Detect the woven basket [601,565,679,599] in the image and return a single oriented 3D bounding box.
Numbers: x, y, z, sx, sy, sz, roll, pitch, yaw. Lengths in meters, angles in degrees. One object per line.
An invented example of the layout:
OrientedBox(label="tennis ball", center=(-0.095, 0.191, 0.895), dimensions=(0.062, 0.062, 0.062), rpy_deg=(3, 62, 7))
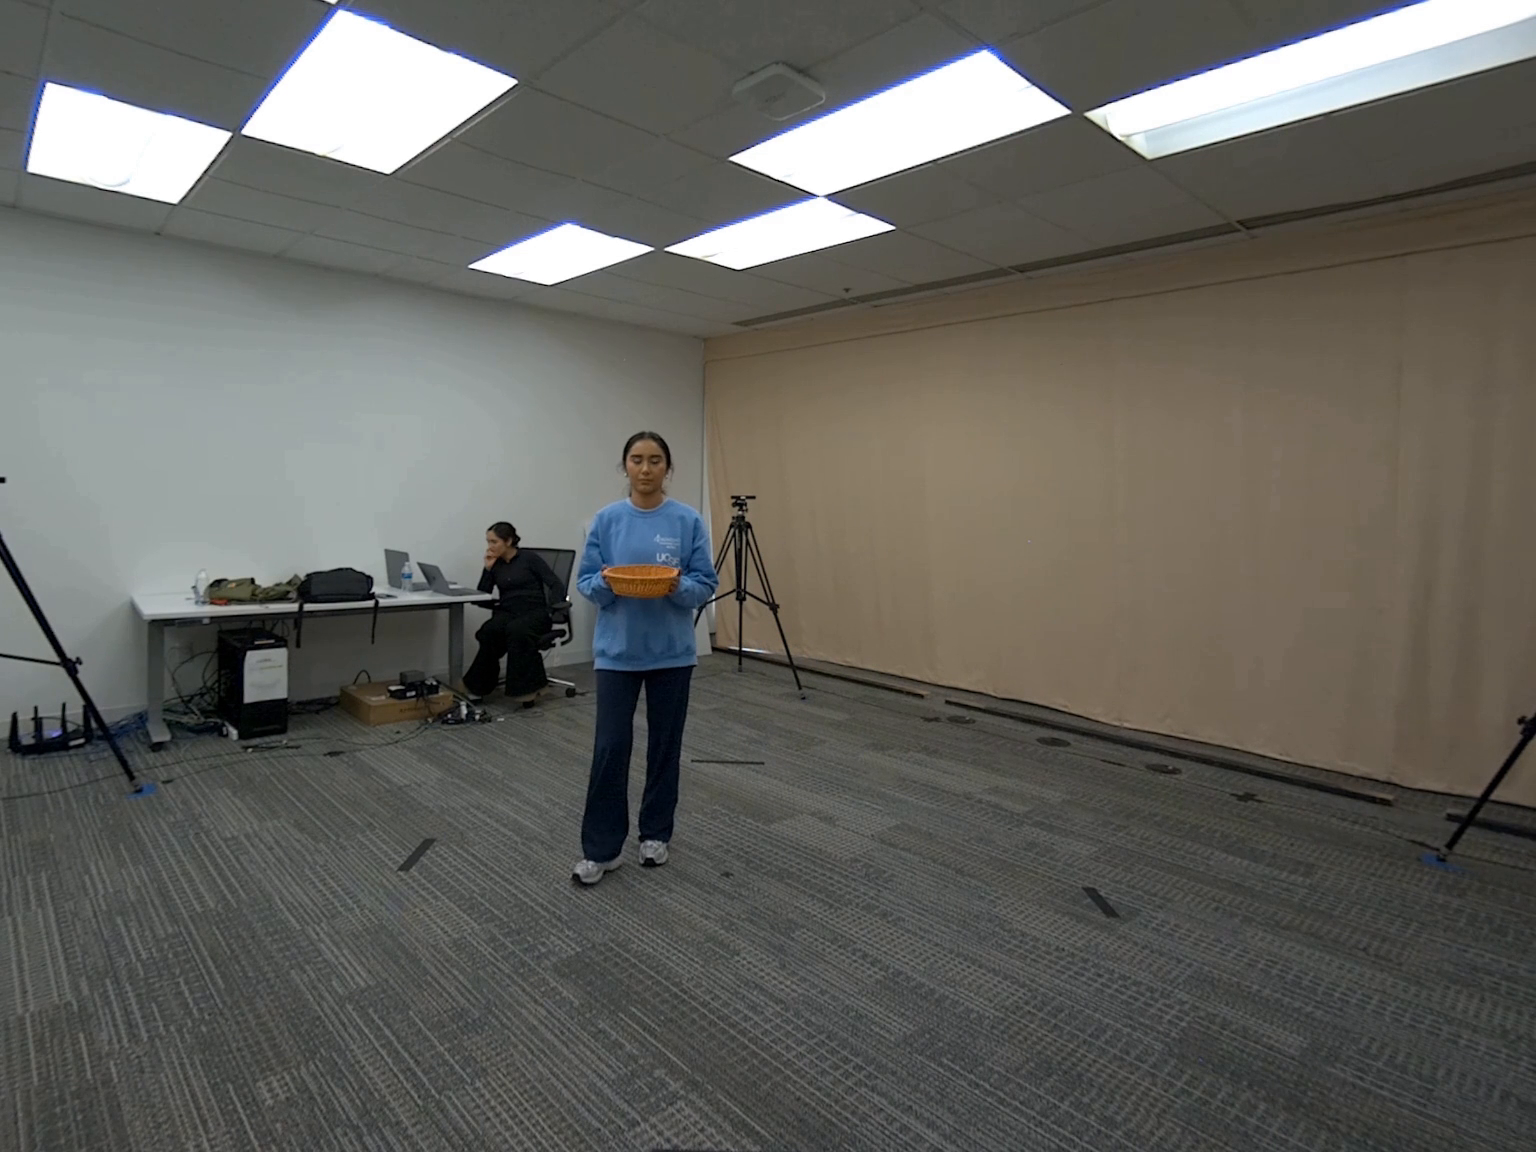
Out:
OrientedBox(label="woven basket", center=(-0.466, 0.022, 2.876), dimensions=(0.252, 0.073, 0.352), rpy_deg=(2, 6, -2))
